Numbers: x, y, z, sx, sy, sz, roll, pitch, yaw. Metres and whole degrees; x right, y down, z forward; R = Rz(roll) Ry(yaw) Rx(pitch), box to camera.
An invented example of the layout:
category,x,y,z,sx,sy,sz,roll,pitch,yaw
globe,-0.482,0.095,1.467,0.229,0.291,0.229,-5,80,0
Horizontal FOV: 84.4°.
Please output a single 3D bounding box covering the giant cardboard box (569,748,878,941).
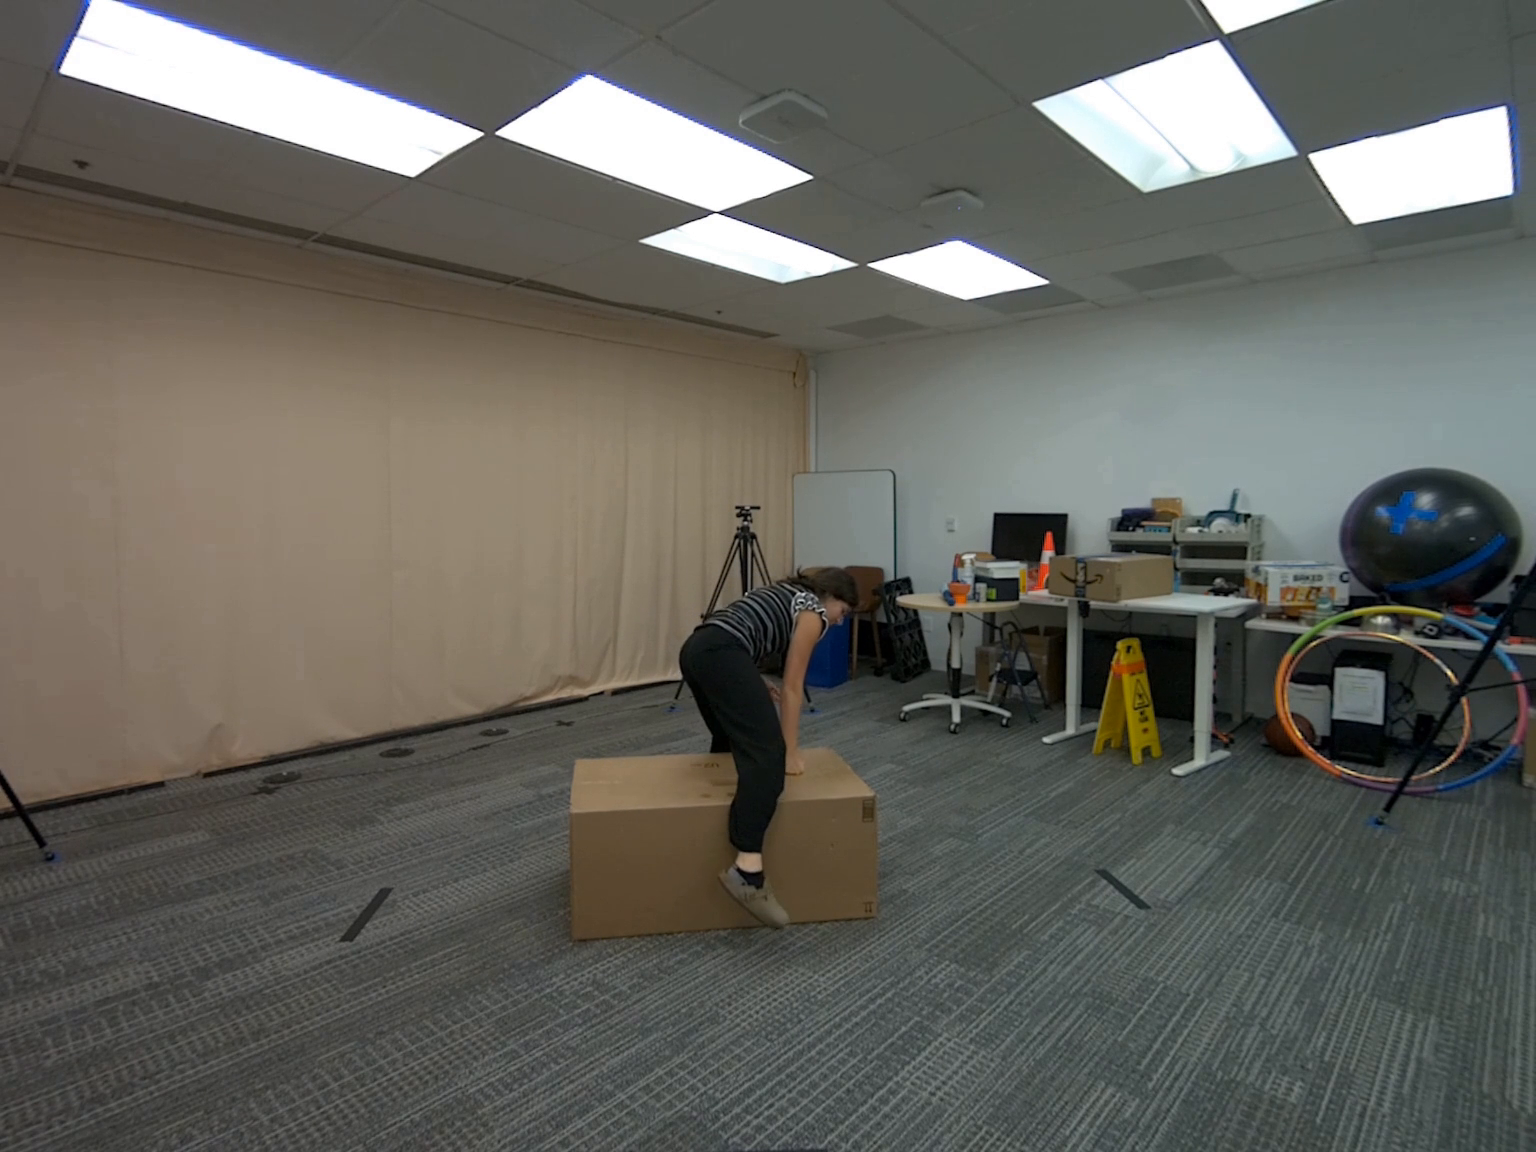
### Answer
category,x,y,z,sx,sy,sz,roll,pitch,yaw
giant cardboard box,-0.189,0.935,3.041,1.017,0.425,0.584,-1,4,-8
